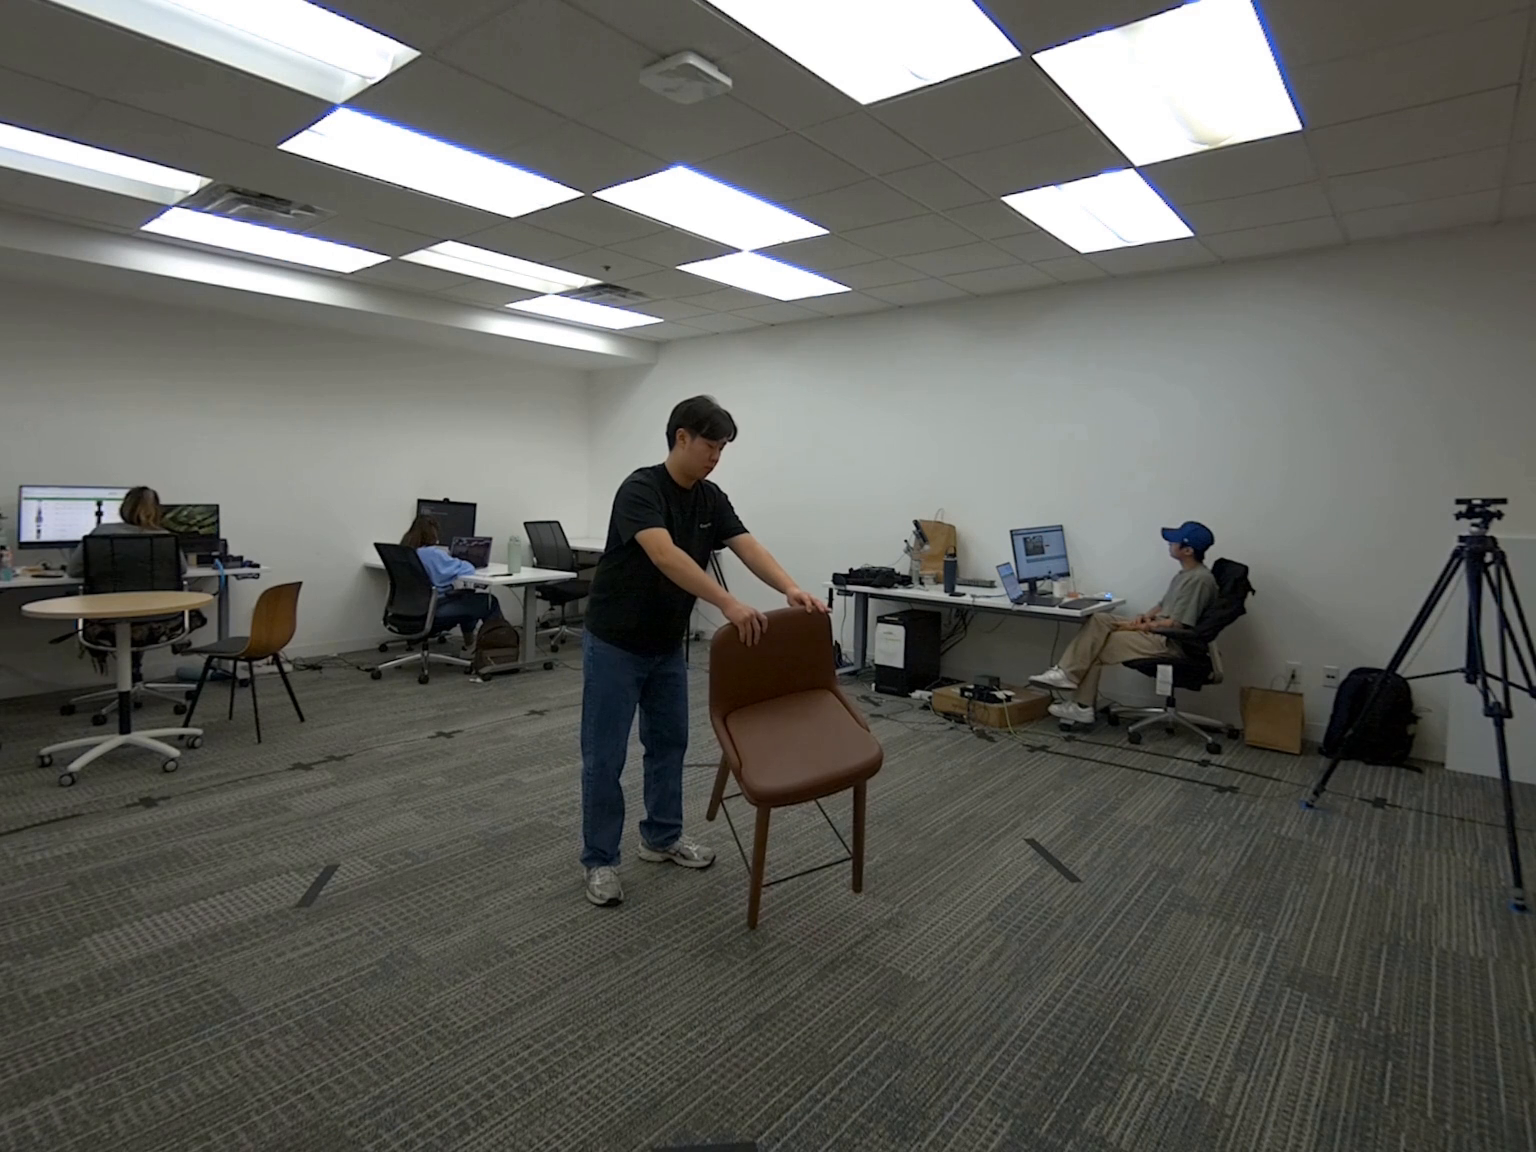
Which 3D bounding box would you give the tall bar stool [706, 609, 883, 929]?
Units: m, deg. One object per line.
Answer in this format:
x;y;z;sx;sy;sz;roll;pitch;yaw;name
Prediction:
0.060;0.602;2.694;0.449;0.868;0.487;-10;34;-20;tall bar stool
